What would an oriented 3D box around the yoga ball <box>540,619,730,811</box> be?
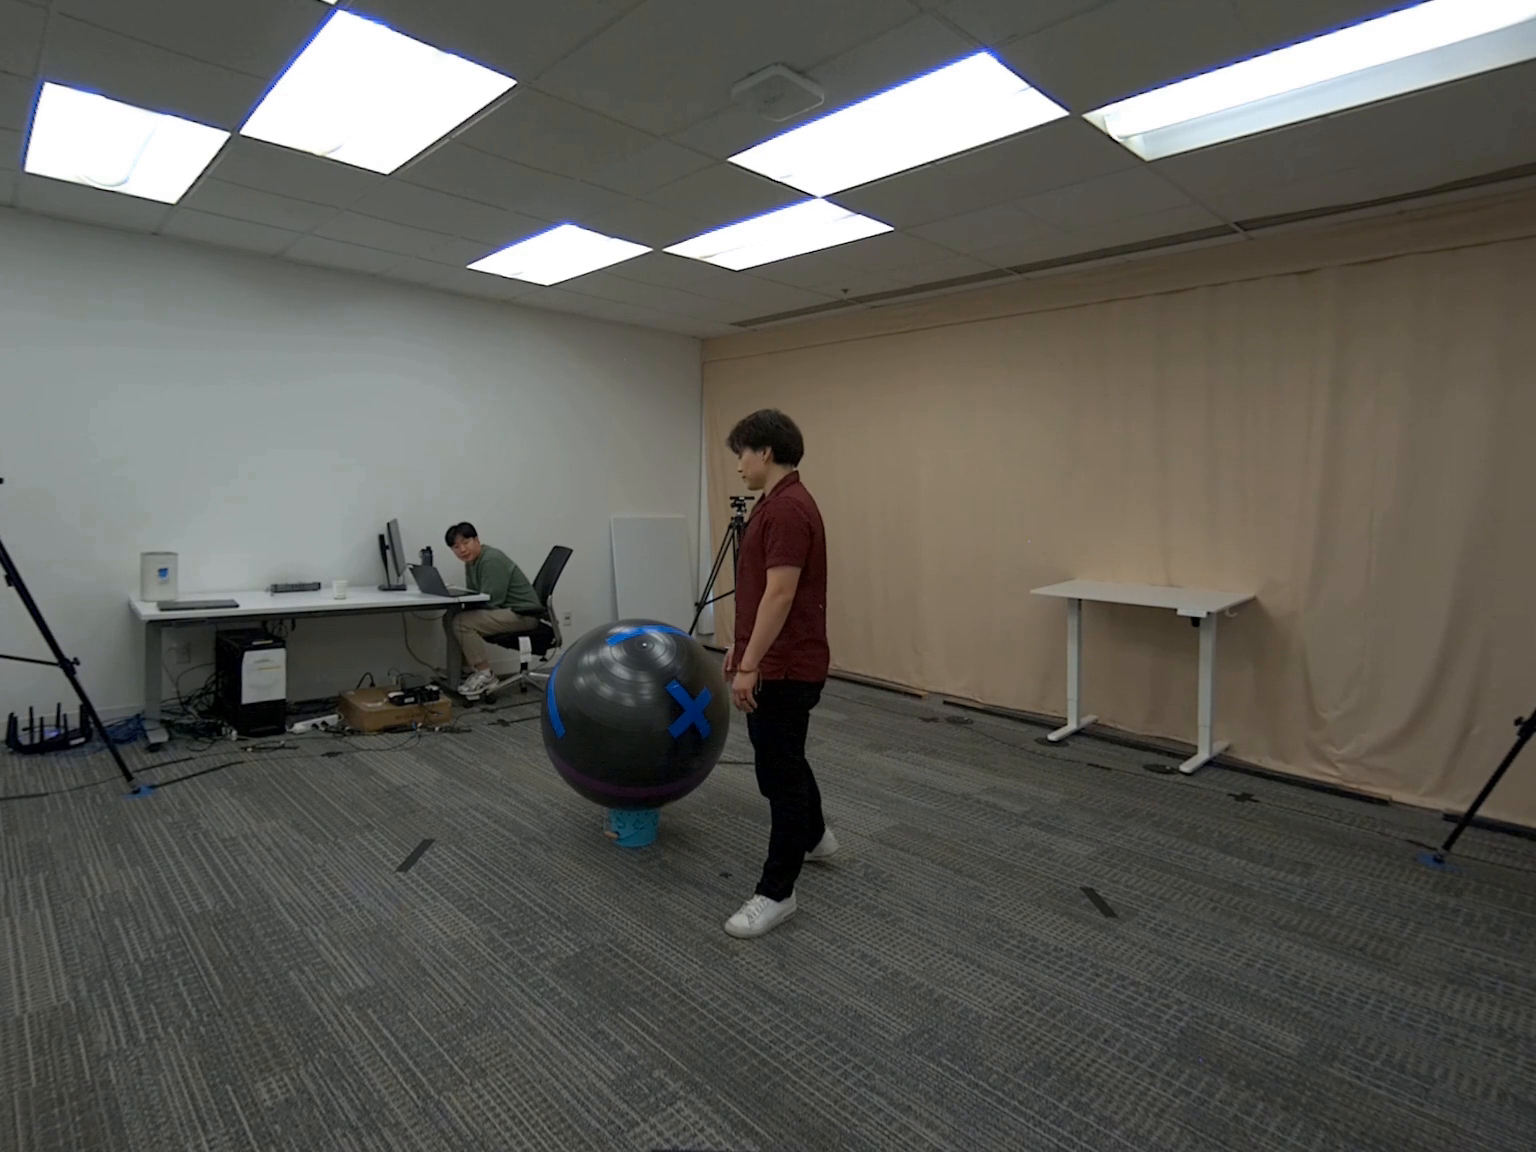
[{"bbox_3d":[-0.542,0.558,3.410,0.757,0.756,0.761,1,4,-1],"label":"yoga ball"}]
